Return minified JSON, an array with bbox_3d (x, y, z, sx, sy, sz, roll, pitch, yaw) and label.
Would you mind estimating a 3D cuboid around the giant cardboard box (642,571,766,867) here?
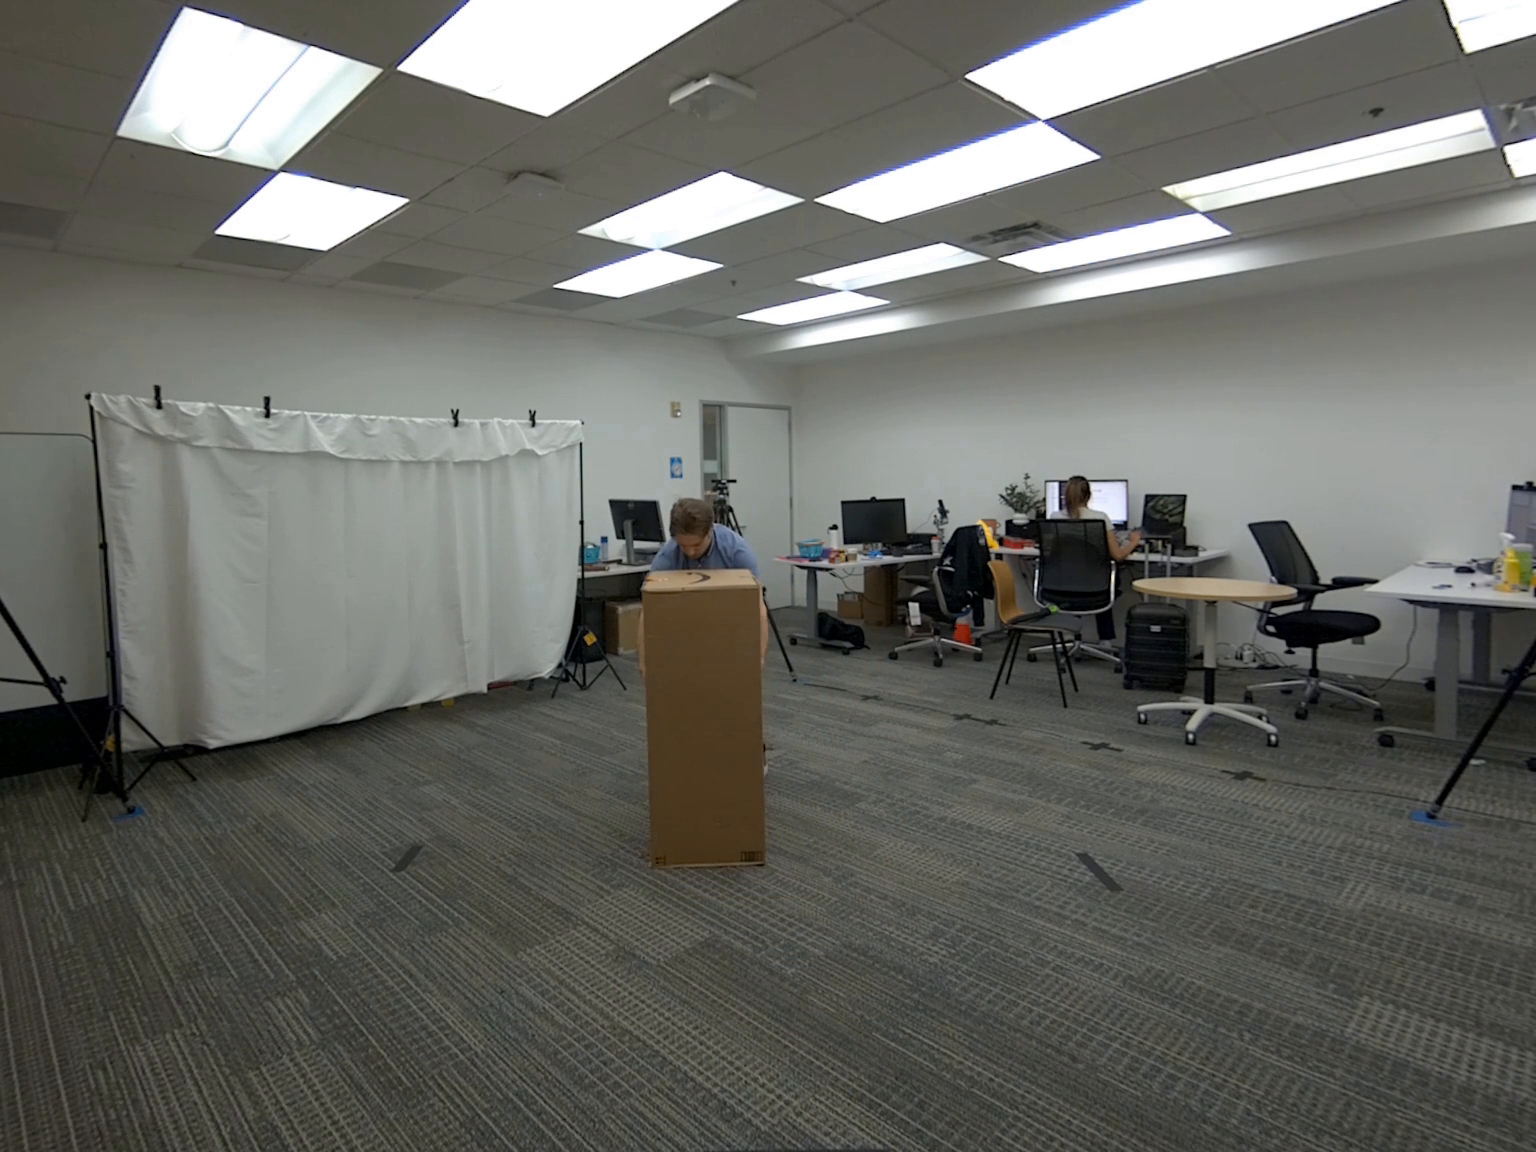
[{"bbox_3d":[-0.256,0.519,3.339,0.425,1.022,0.581,-2,4,-3],"label":"giant cardboard box"}]
